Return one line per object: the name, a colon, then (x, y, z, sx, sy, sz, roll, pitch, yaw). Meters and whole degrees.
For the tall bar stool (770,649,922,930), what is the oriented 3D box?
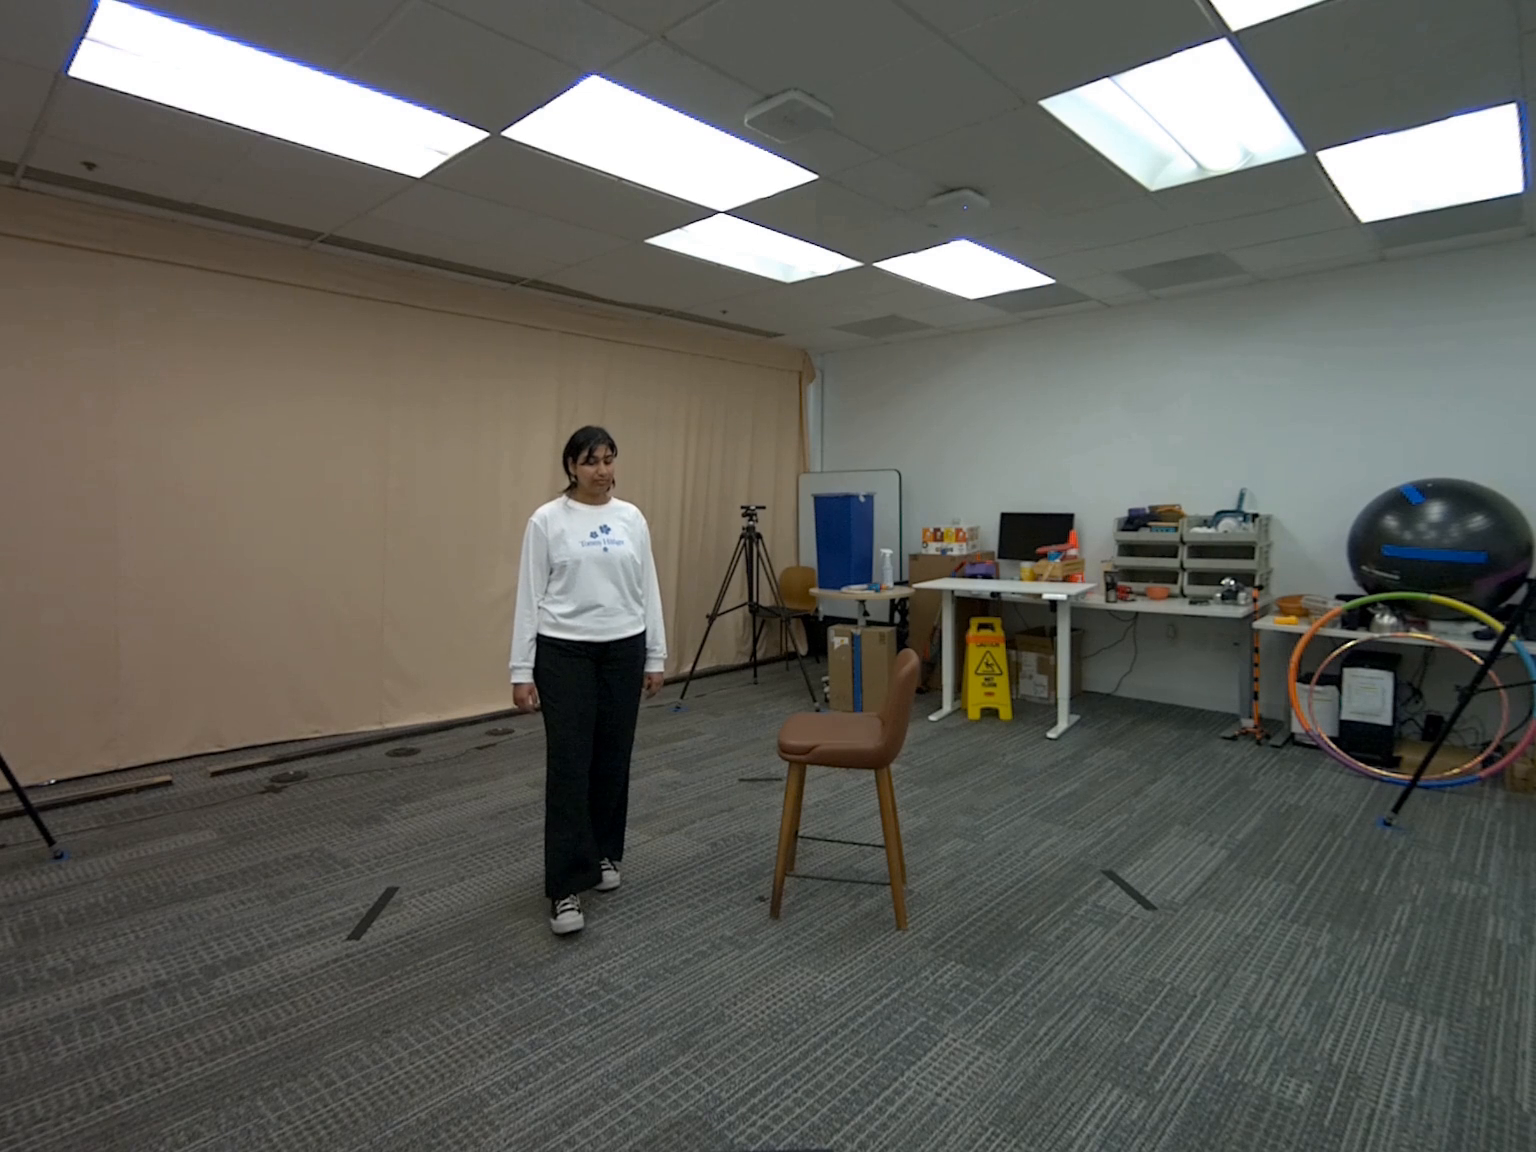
tall bar stool: (0.271, 0.711, 2.958, 0.474, 0.888, 0.451, 3, 4, 12)
